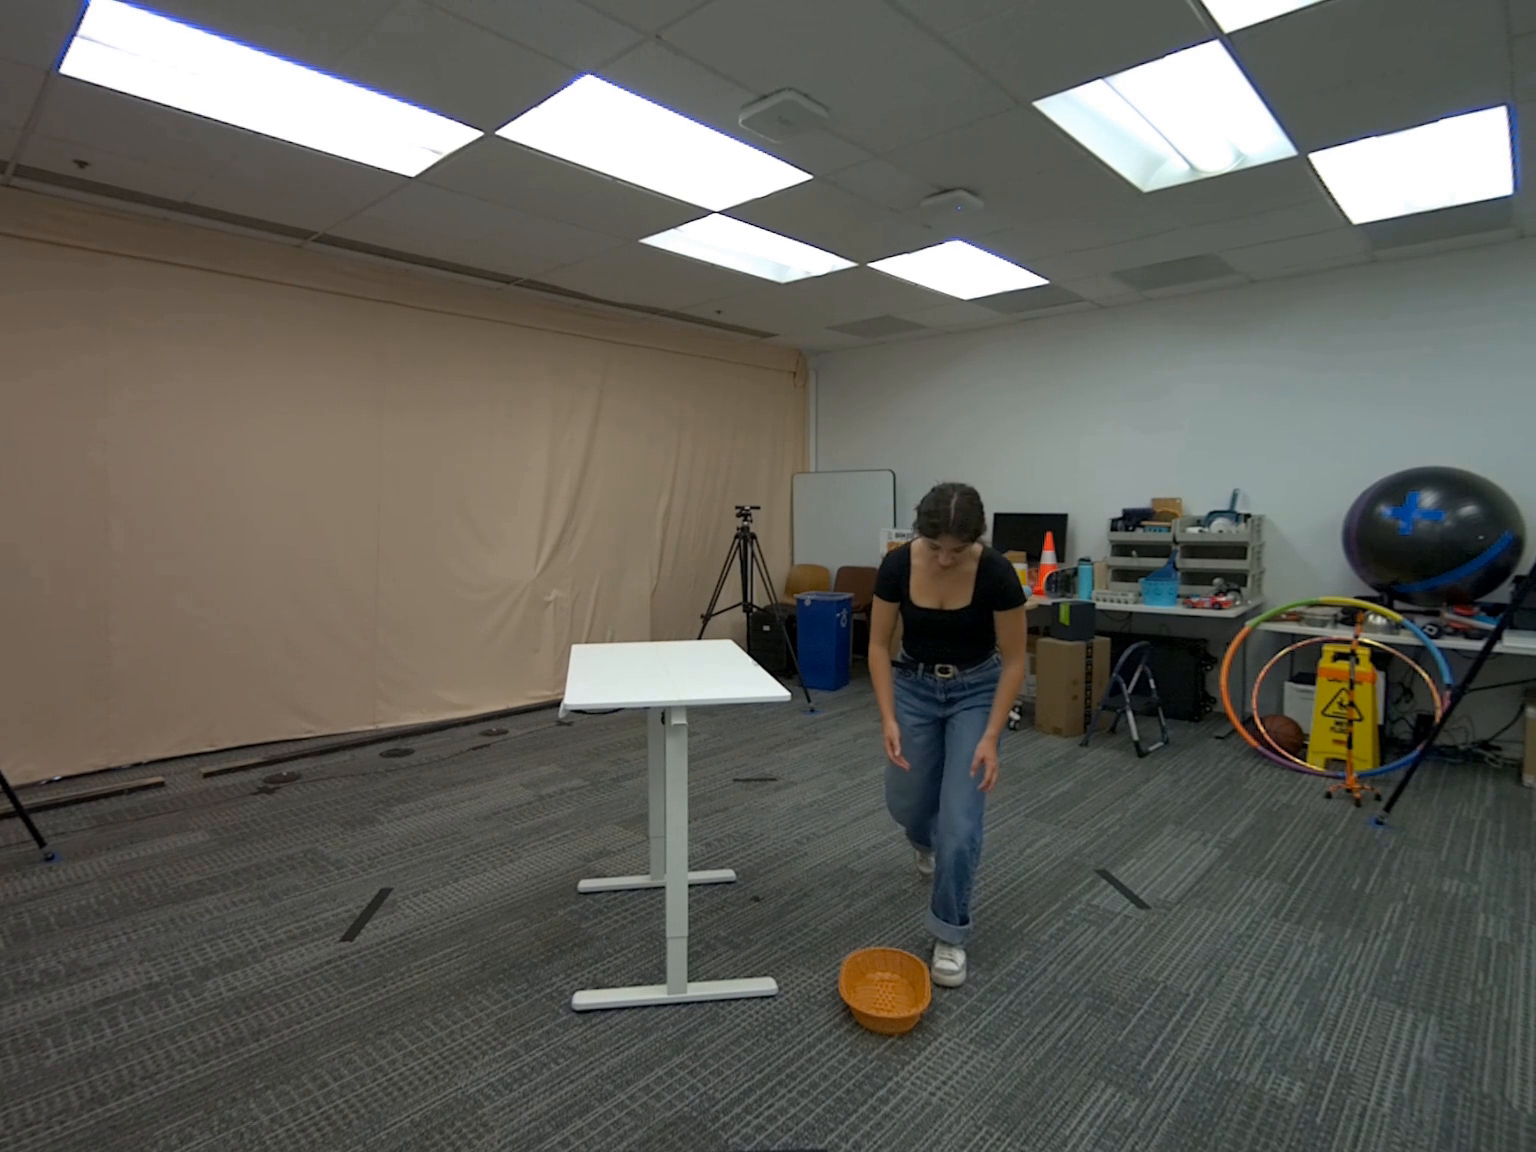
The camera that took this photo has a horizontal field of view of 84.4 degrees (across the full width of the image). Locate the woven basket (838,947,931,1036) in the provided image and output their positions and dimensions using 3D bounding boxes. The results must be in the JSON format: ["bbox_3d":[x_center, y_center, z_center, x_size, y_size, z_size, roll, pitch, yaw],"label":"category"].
[{"bbox_3d":[0.332,1.158,2.353,0.257,0.073,0.345,0,5,16],"label":"woven basket"}]
